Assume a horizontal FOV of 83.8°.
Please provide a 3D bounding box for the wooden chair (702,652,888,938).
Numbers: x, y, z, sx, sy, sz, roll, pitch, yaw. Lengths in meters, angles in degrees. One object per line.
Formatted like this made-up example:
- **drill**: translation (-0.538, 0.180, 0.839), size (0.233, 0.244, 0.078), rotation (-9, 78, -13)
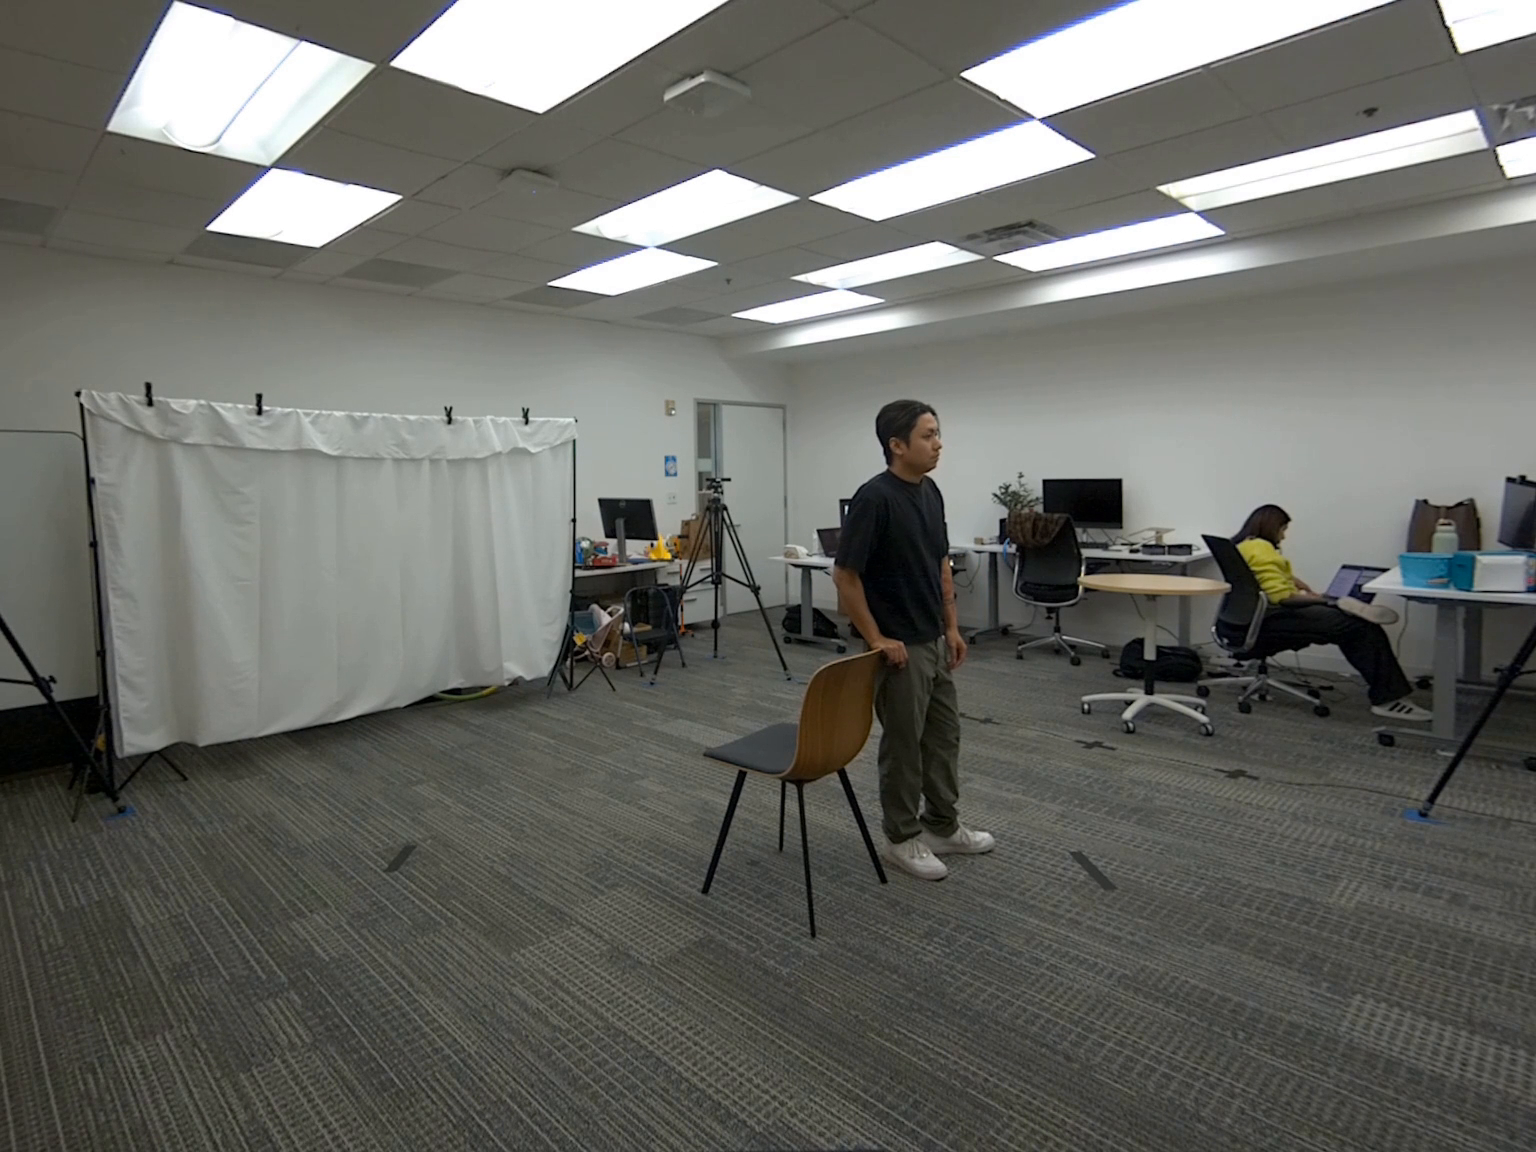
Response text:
- **wooden chair**: translation (0.079, 0.641, 2.872), size (0.540, 0.872, 0.466), rotation (8, 9, 38)
